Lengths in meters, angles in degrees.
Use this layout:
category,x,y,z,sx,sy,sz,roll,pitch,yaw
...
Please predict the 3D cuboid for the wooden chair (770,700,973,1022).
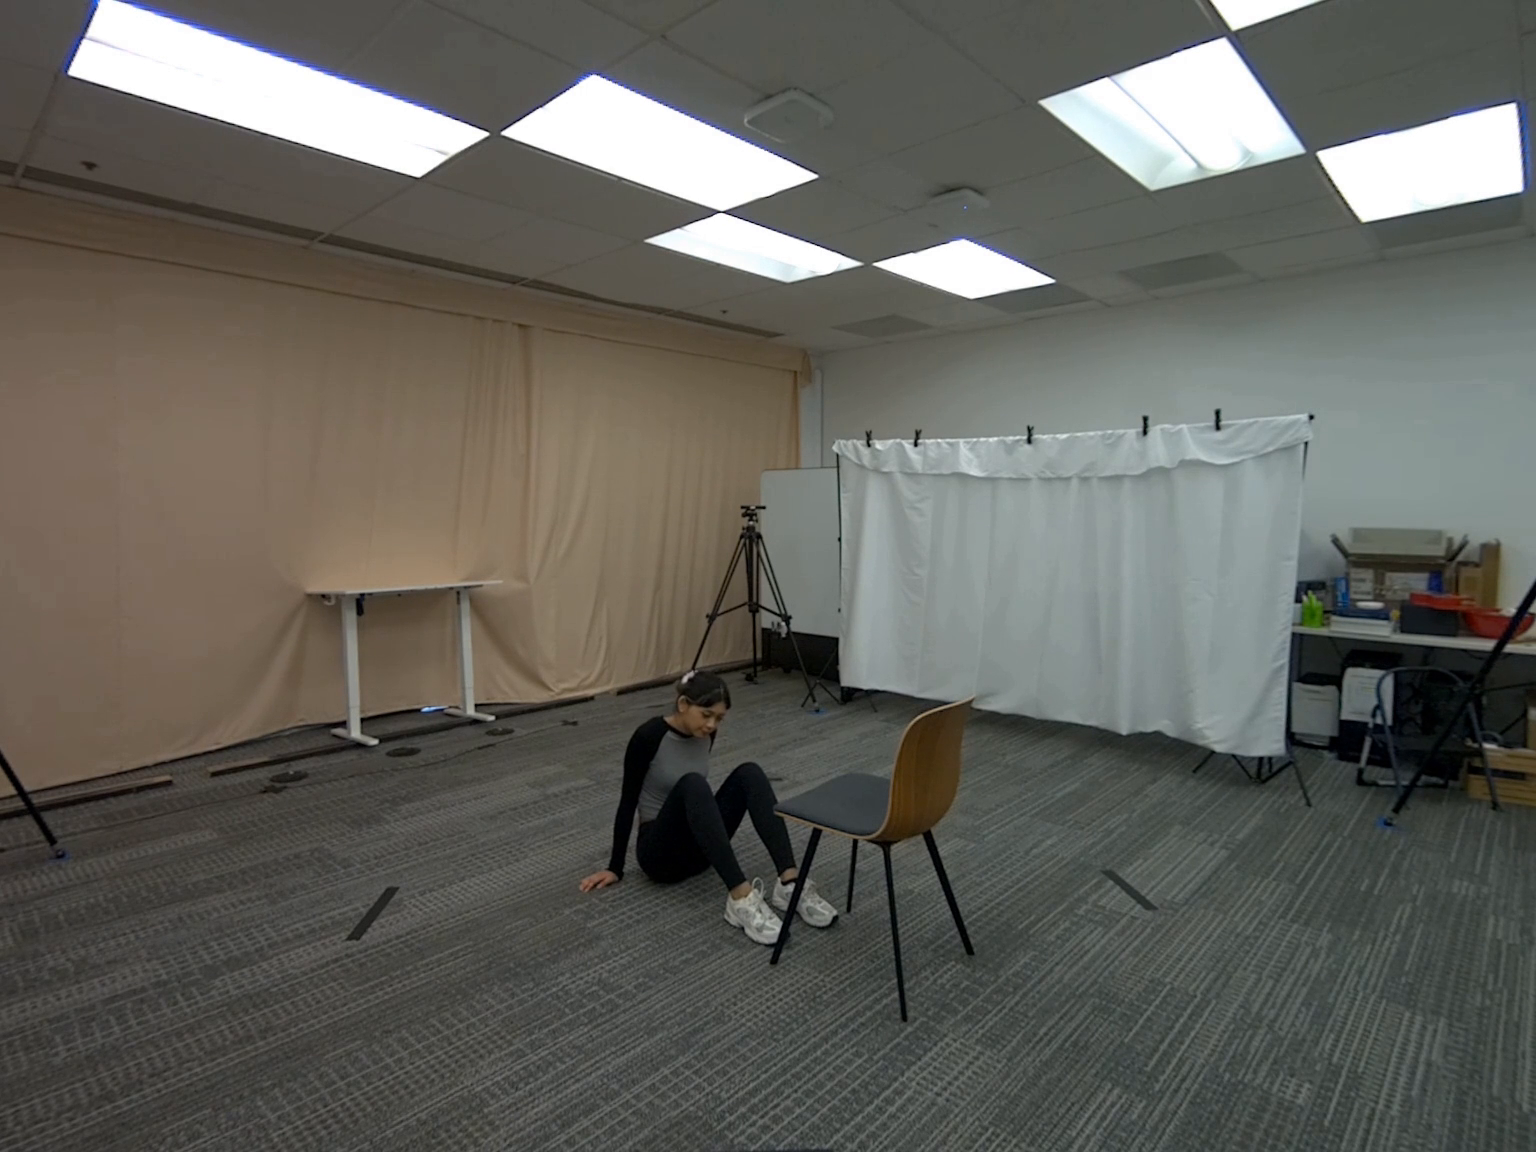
category,x,y,z,sx,sy,sz,roll,pitch,yaw
wooden chair,0.322,0.750,2.558,0.541,0.874,0.464,8,8,38
